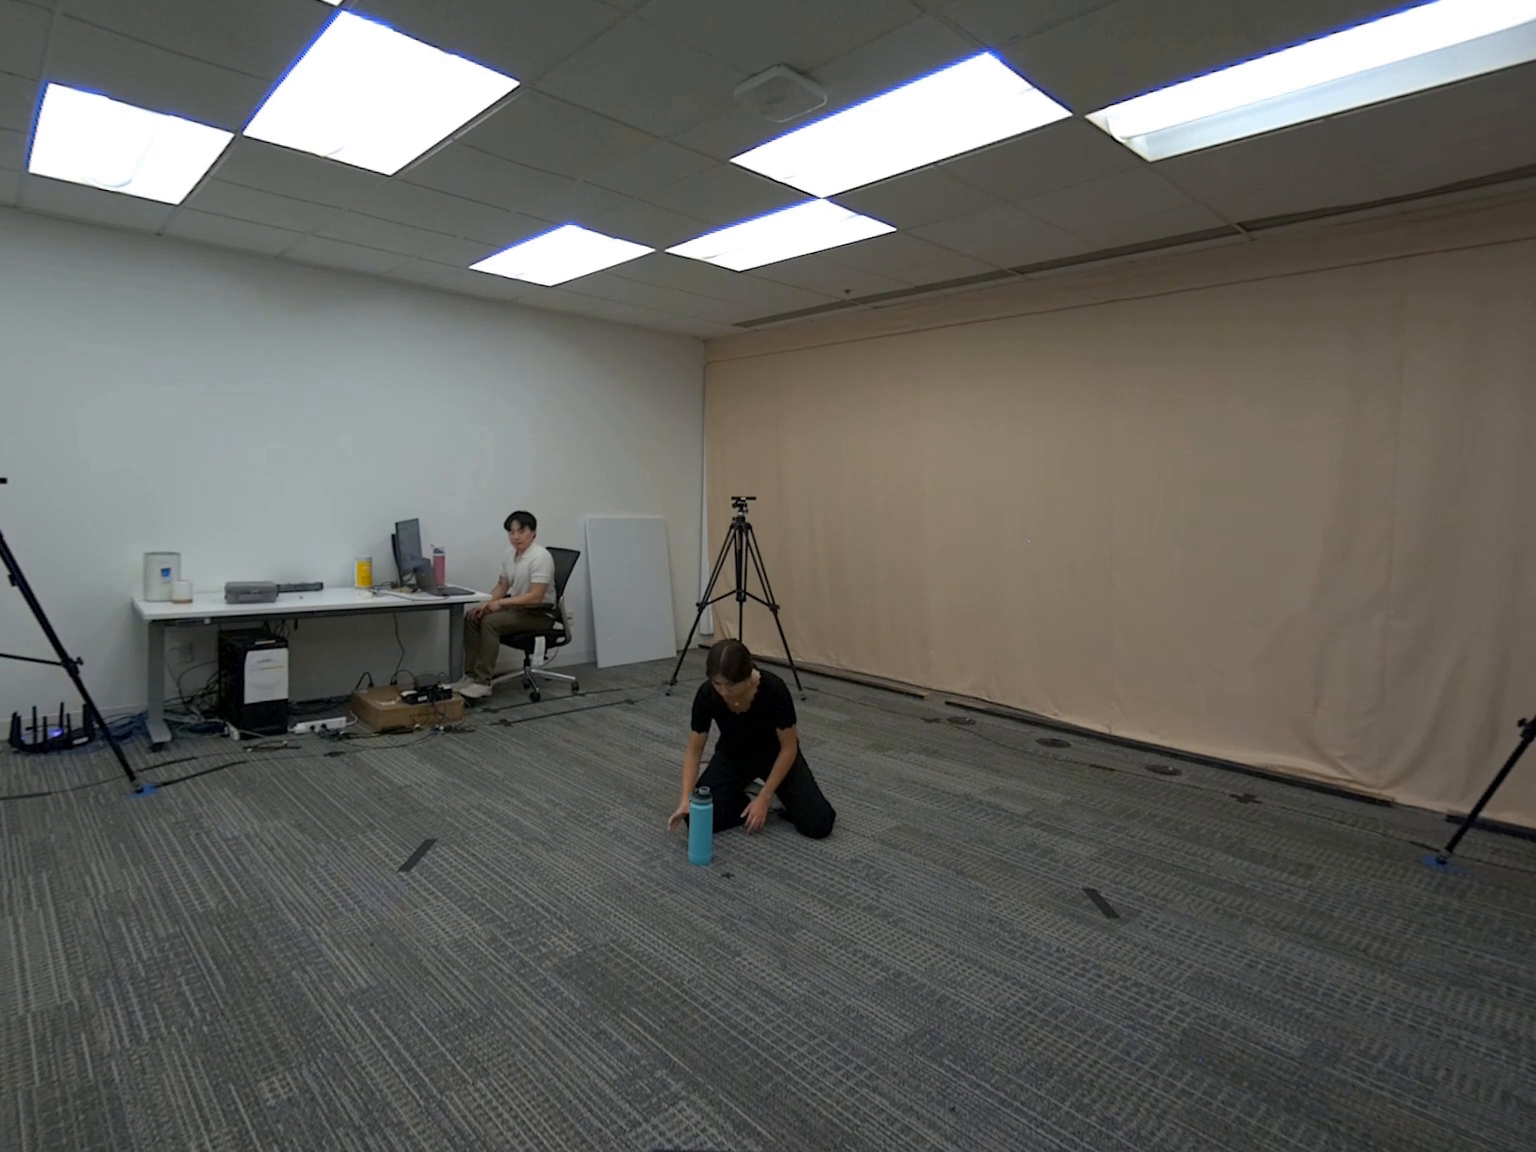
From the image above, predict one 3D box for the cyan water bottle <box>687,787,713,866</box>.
[{"bbox_3d":[-0.271,0.956,3.227,0.092,0.283,0.092,1,1,-1],"label":"cyan water bottle"}]
